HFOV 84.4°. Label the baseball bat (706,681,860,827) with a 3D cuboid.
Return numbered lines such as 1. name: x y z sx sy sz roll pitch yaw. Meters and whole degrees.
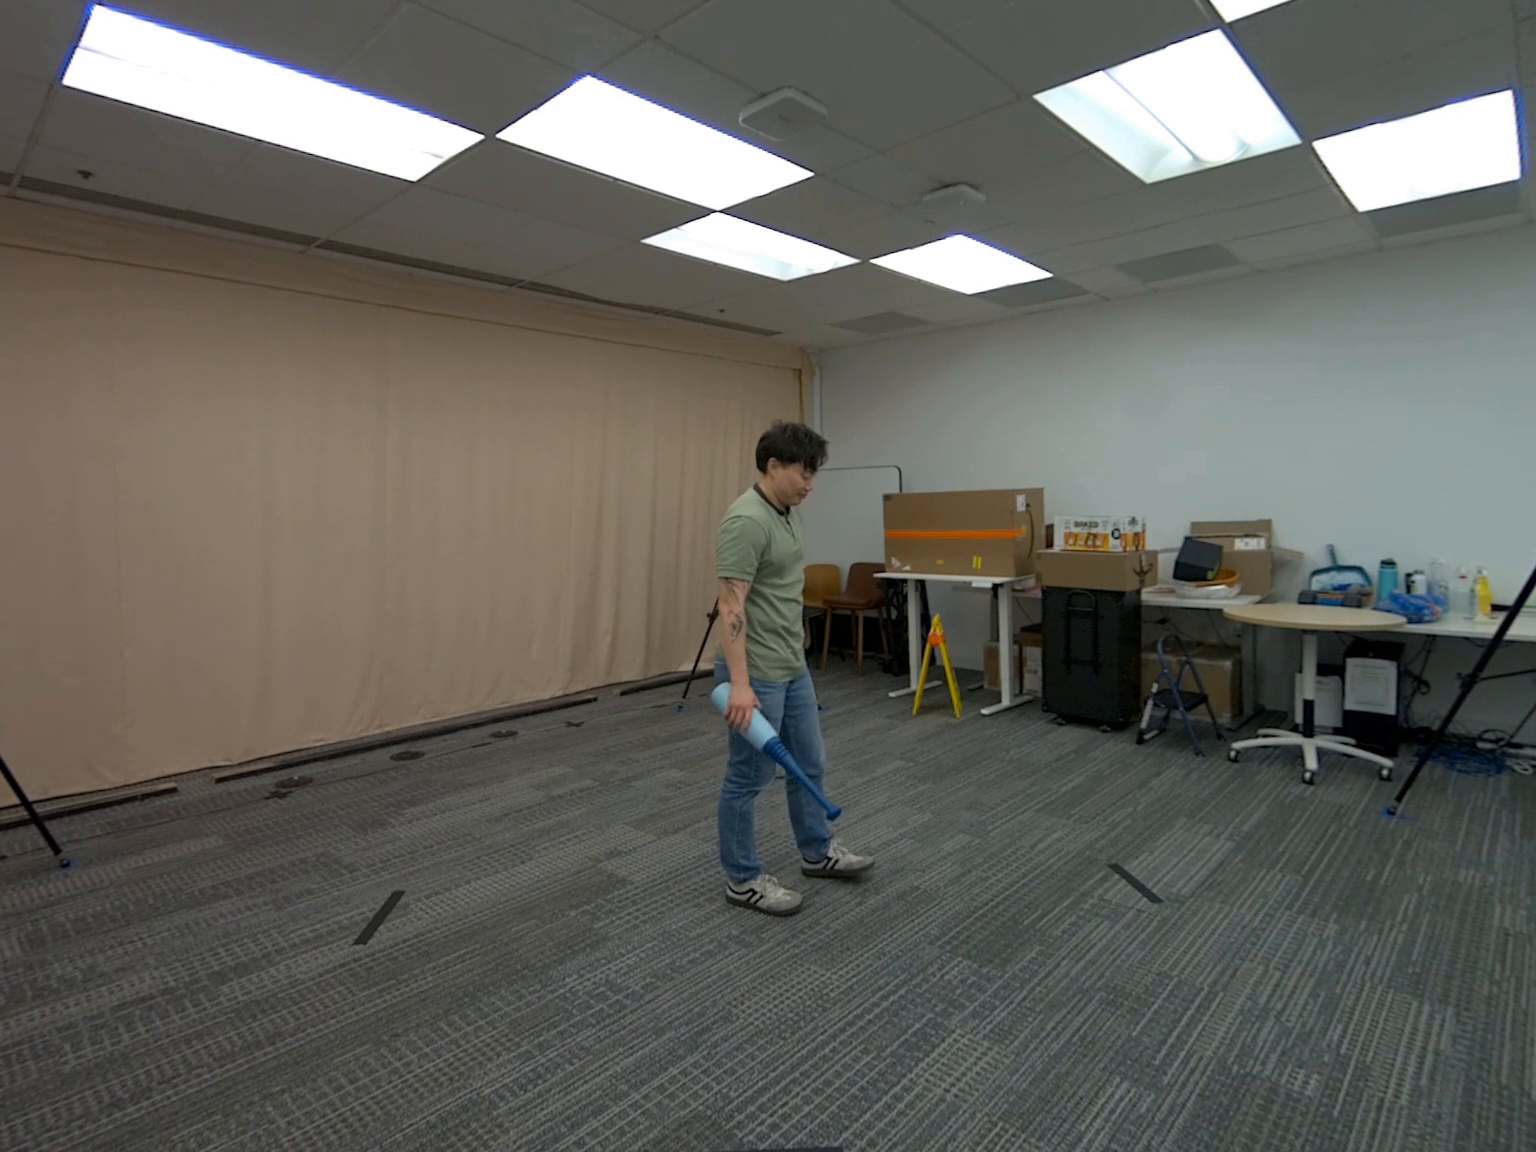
1. baseball bat: 0.032 0.508 2.535 0.086 0.089 0.561 -5 37 -48
